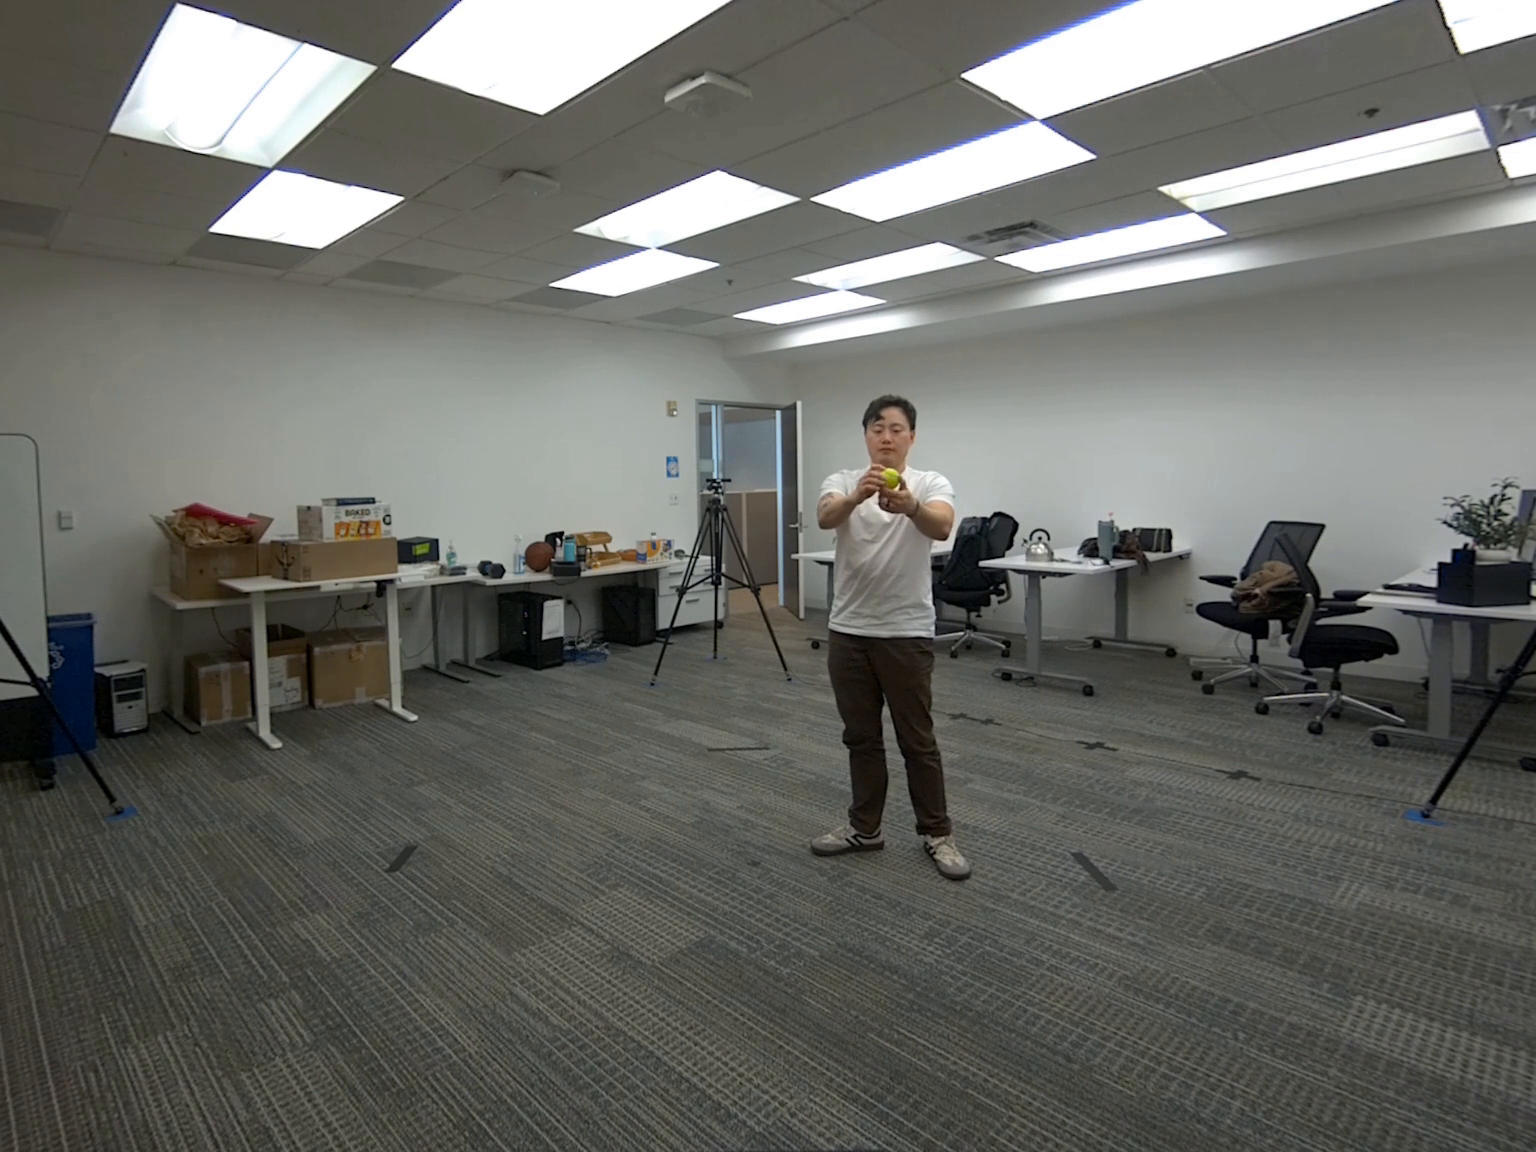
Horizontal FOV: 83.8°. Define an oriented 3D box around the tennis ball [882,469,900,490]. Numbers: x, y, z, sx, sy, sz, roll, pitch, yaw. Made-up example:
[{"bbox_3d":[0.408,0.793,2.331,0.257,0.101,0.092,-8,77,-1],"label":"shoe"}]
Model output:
[{"bbox_3d":[0.369,-0.288,2.609,0.066,0.066,0.067,-1,5,-2],"label":"tennis ball"}]
